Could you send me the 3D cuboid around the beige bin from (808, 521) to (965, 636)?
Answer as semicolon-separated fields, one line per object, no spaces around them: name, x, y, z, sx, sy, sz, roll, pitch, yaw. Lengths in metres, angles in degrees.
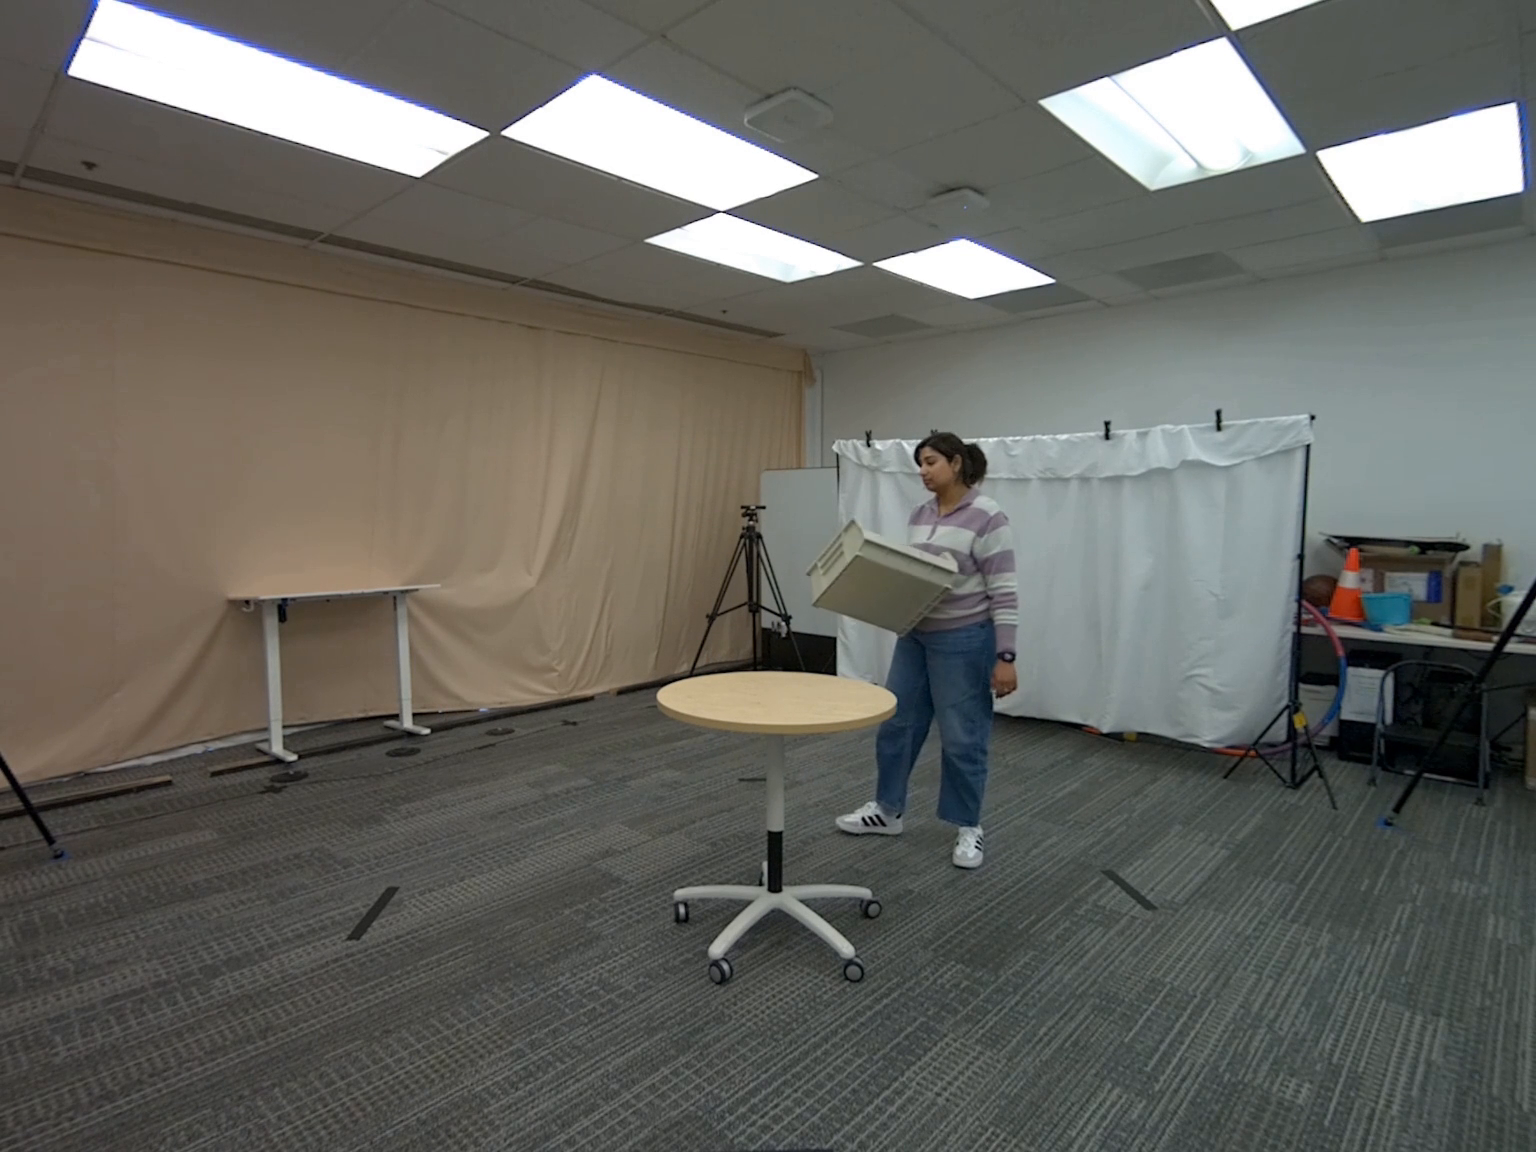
beige bin;0.429;0.004;3.137;0.413;0.193;0.378;19;-48;-20
